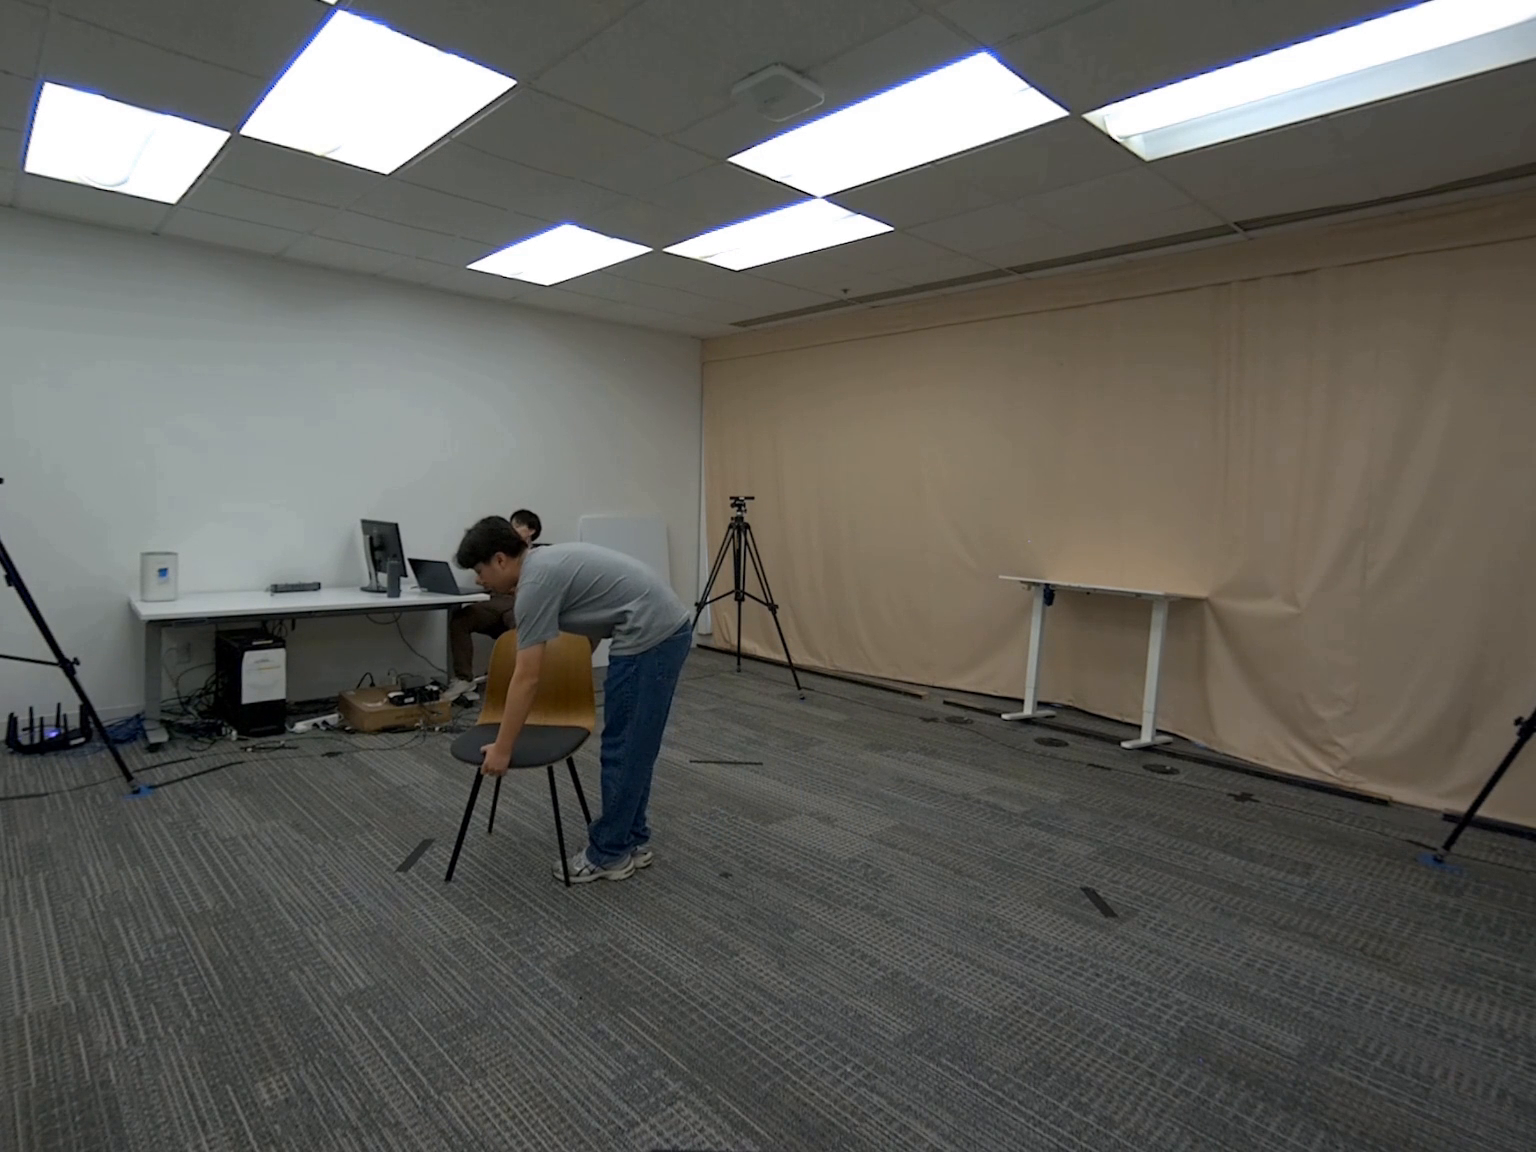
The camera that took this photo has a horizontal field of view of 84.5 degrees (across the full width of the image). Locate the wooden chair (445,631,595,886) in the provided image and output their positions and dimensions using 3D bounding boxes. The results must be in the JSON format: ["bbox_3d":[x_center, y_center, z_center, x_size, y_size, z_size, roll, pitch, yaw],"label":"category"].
[{"bbox_3d":[-0.914,0.649,3.172,0.479,0.878,0.522,1,-1,1],"label":"wooden chair"}]
